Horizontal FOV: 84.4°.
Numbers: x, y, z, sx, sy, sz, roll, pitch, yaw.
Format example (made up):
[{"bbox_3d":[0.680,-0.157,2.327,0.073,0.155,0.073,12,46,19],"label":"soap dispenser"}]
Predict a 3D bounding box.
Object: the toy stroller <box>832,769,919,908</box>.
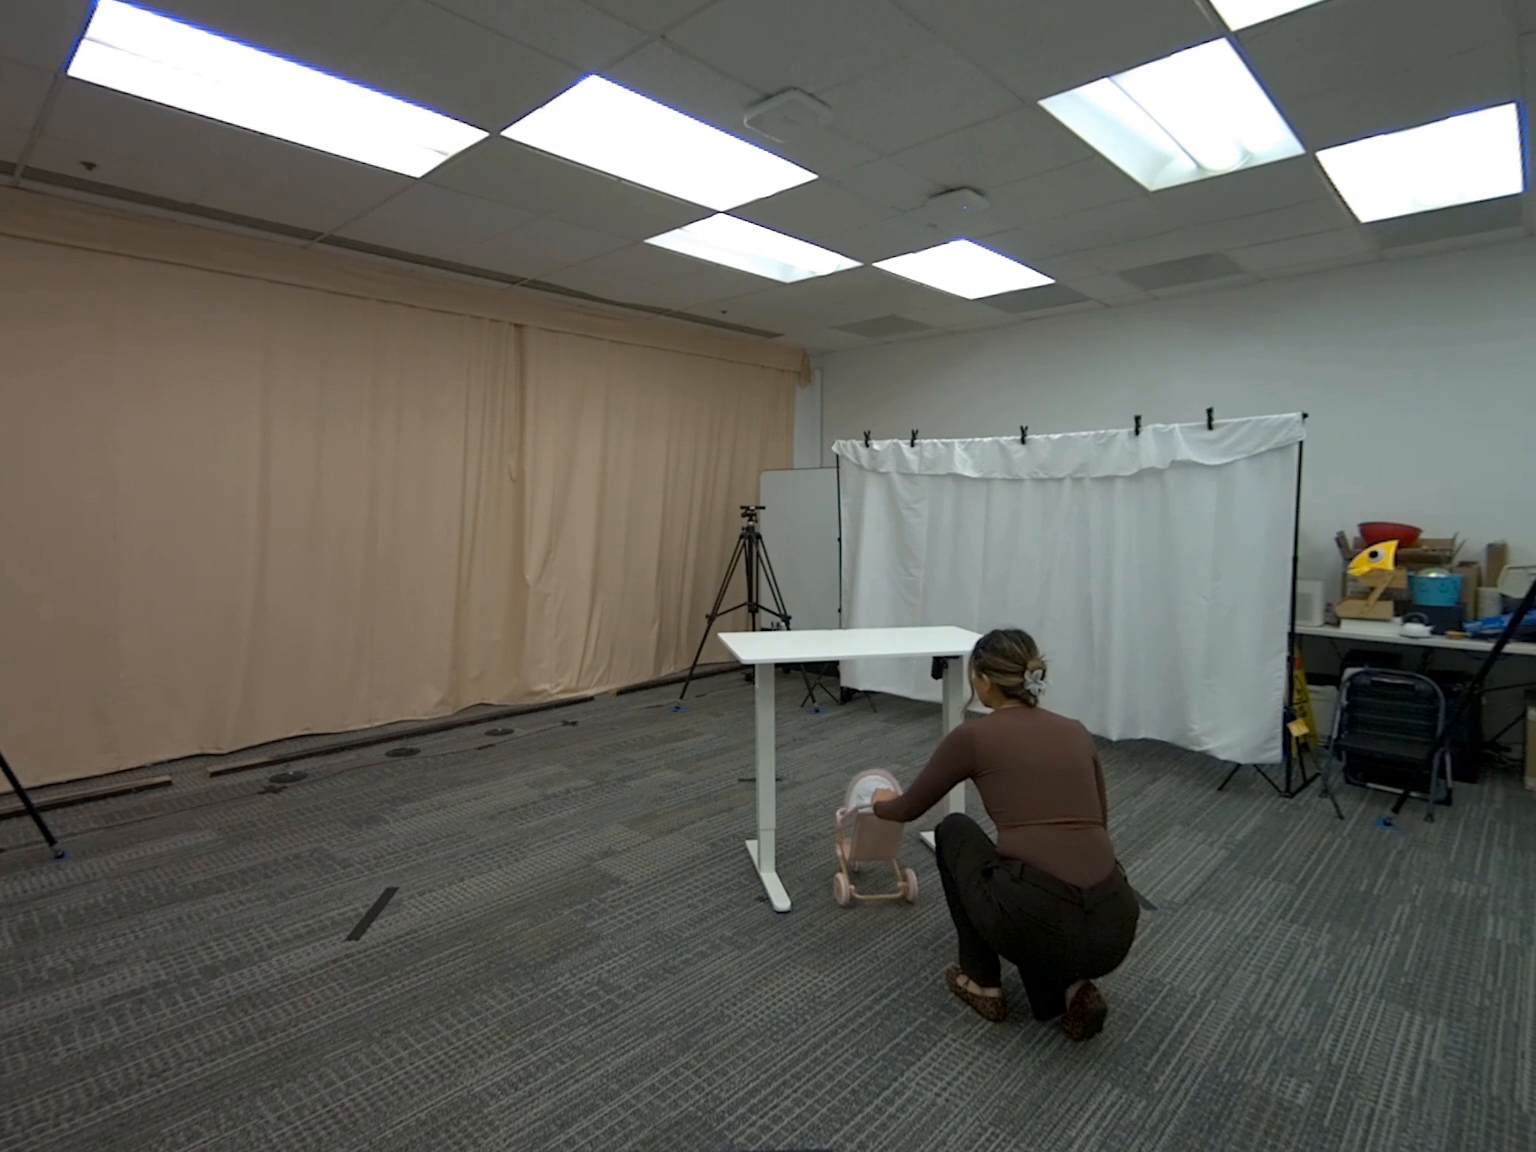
[{"bbox_3d":[0.375,0.913,2.998,0.280,0.529,0.347,1,20,-5],"label":"toy stroller"}]
